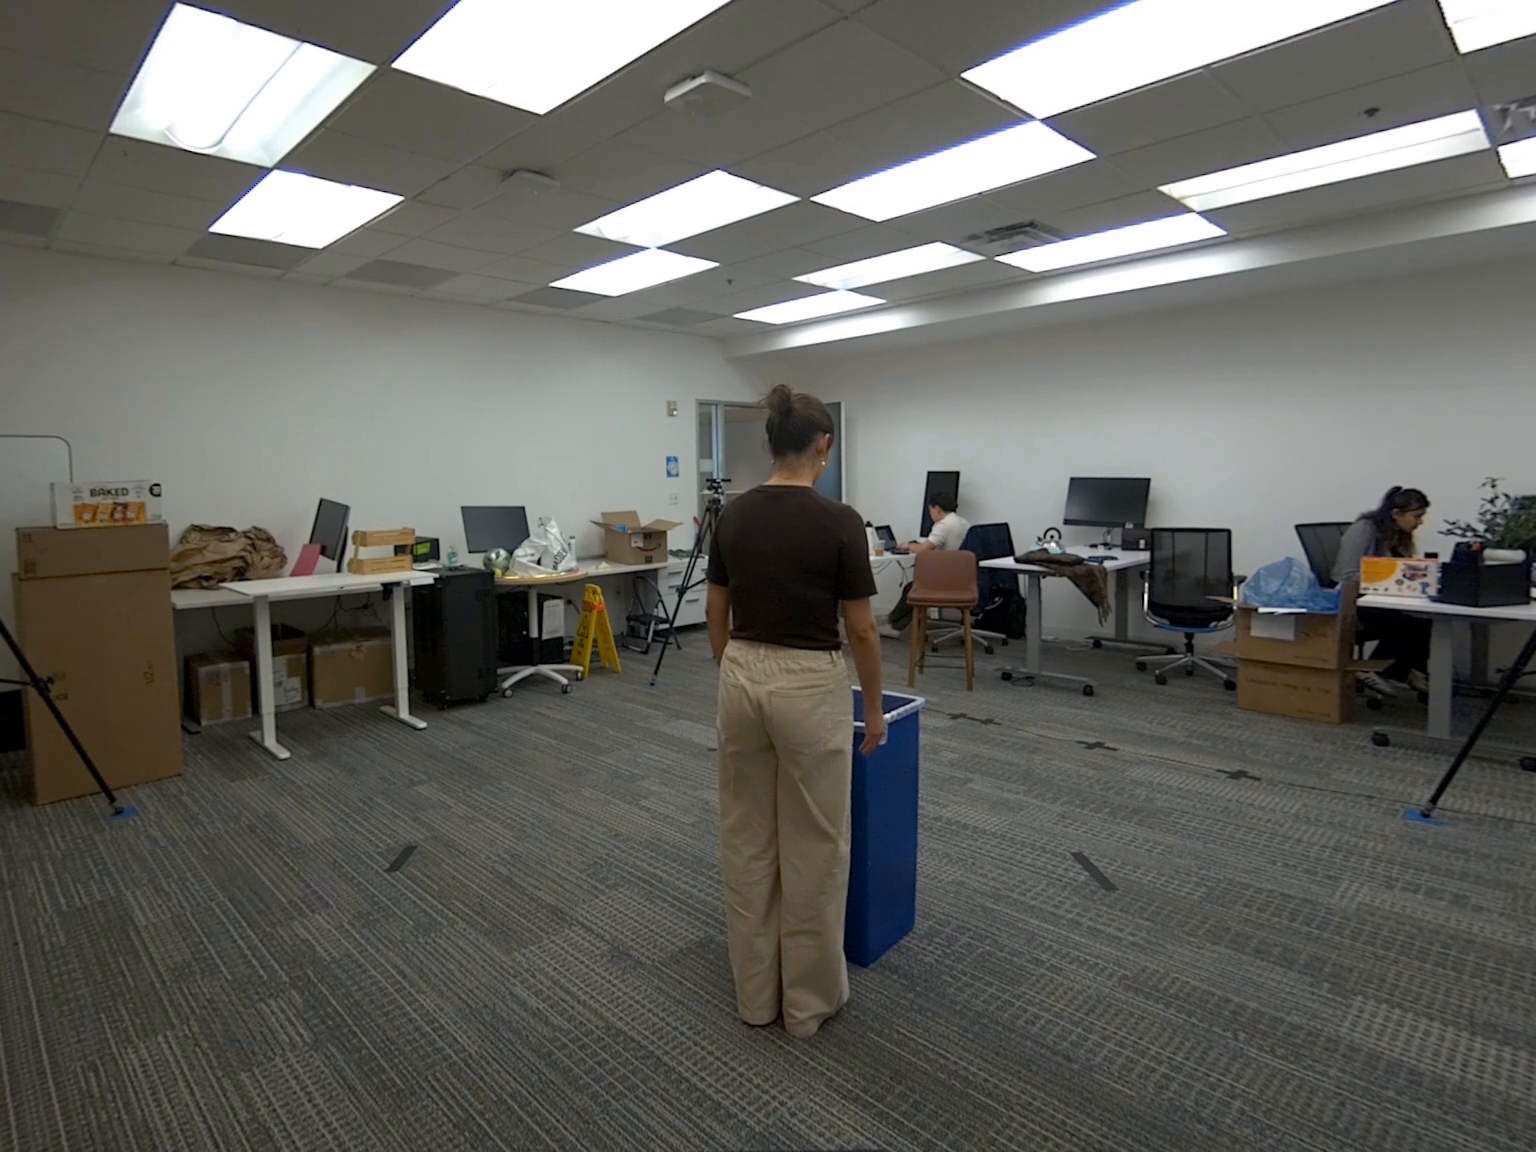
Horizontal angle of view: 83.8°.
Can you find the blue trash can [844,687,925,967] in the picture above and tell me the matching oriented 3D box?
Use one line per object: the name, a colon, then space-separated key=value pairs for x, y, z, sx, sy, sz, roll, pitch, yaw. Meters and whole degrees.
blue trash can: x=0.243 y=0.736 z=2.616 sx=0.385 sy=0.711 sz=0.368 roll=2 pitch=5 yaw=39
